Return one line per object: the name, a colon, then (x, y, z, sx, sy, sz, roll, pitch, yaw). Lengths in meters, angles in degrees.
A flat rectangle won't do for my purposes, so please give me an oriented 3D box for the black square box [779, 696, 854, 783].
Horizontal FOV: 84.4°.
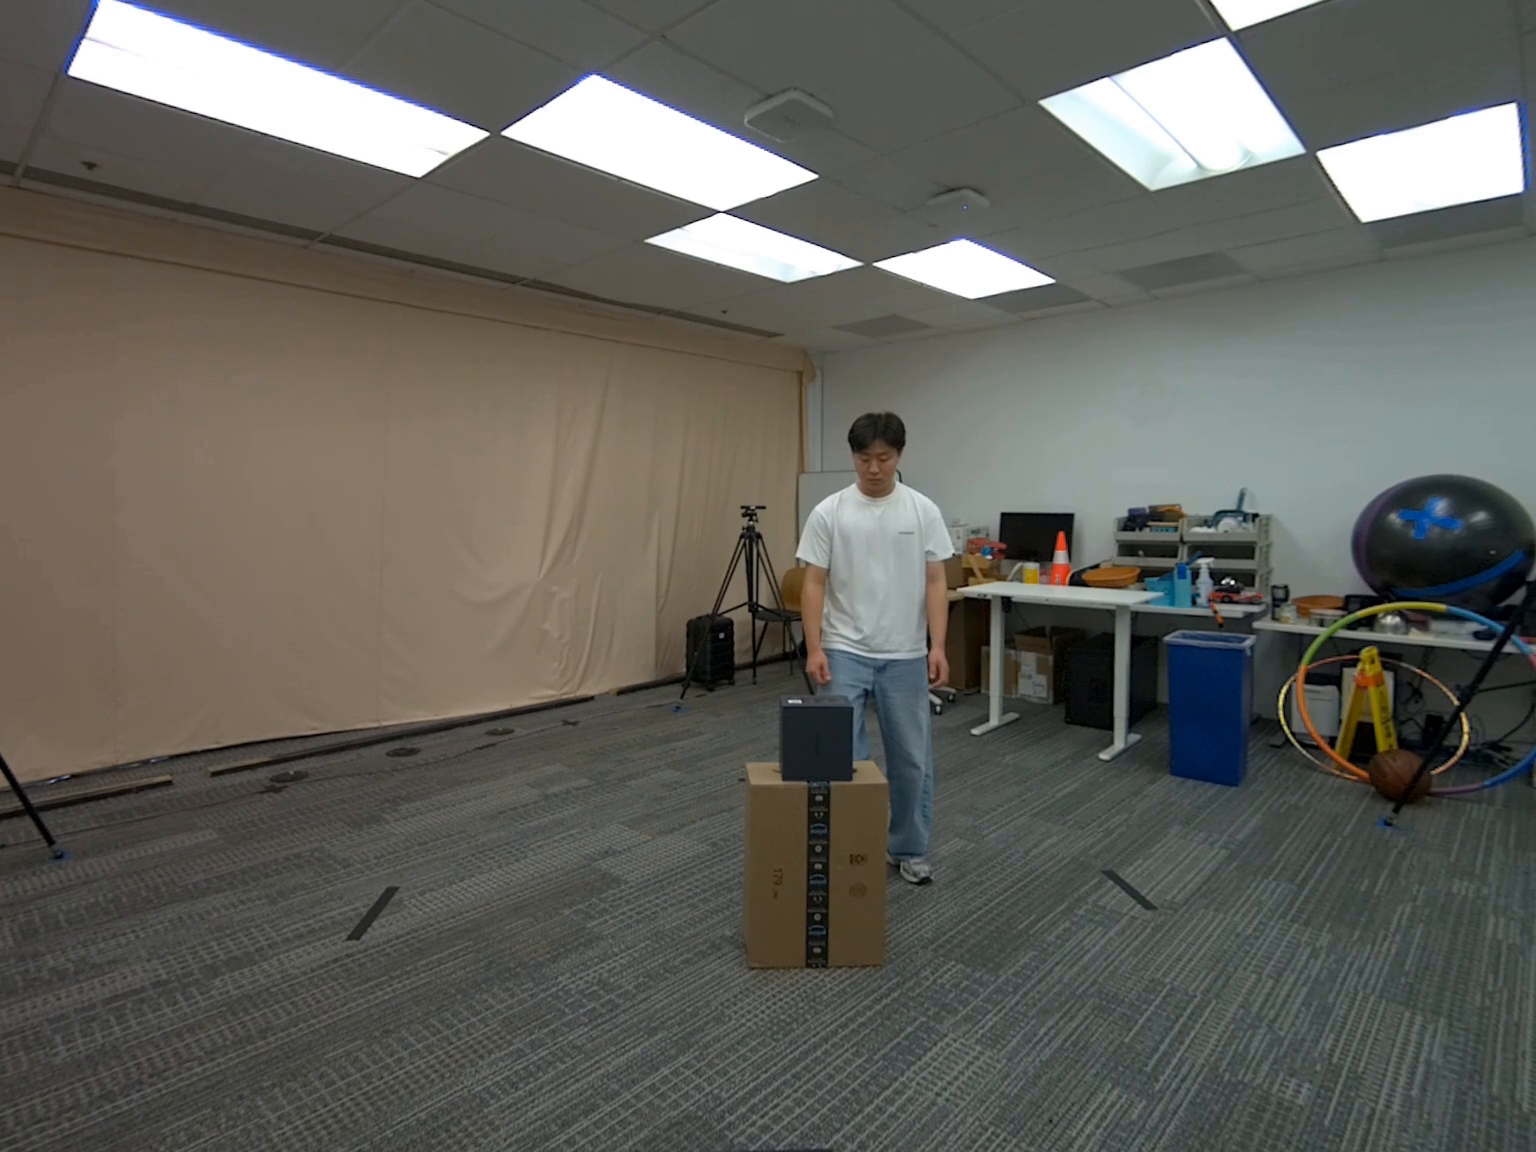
black square box: (0.150, 0.495, 2.591, 0.218, 0.227, 0.155, 0, 3, 3)
